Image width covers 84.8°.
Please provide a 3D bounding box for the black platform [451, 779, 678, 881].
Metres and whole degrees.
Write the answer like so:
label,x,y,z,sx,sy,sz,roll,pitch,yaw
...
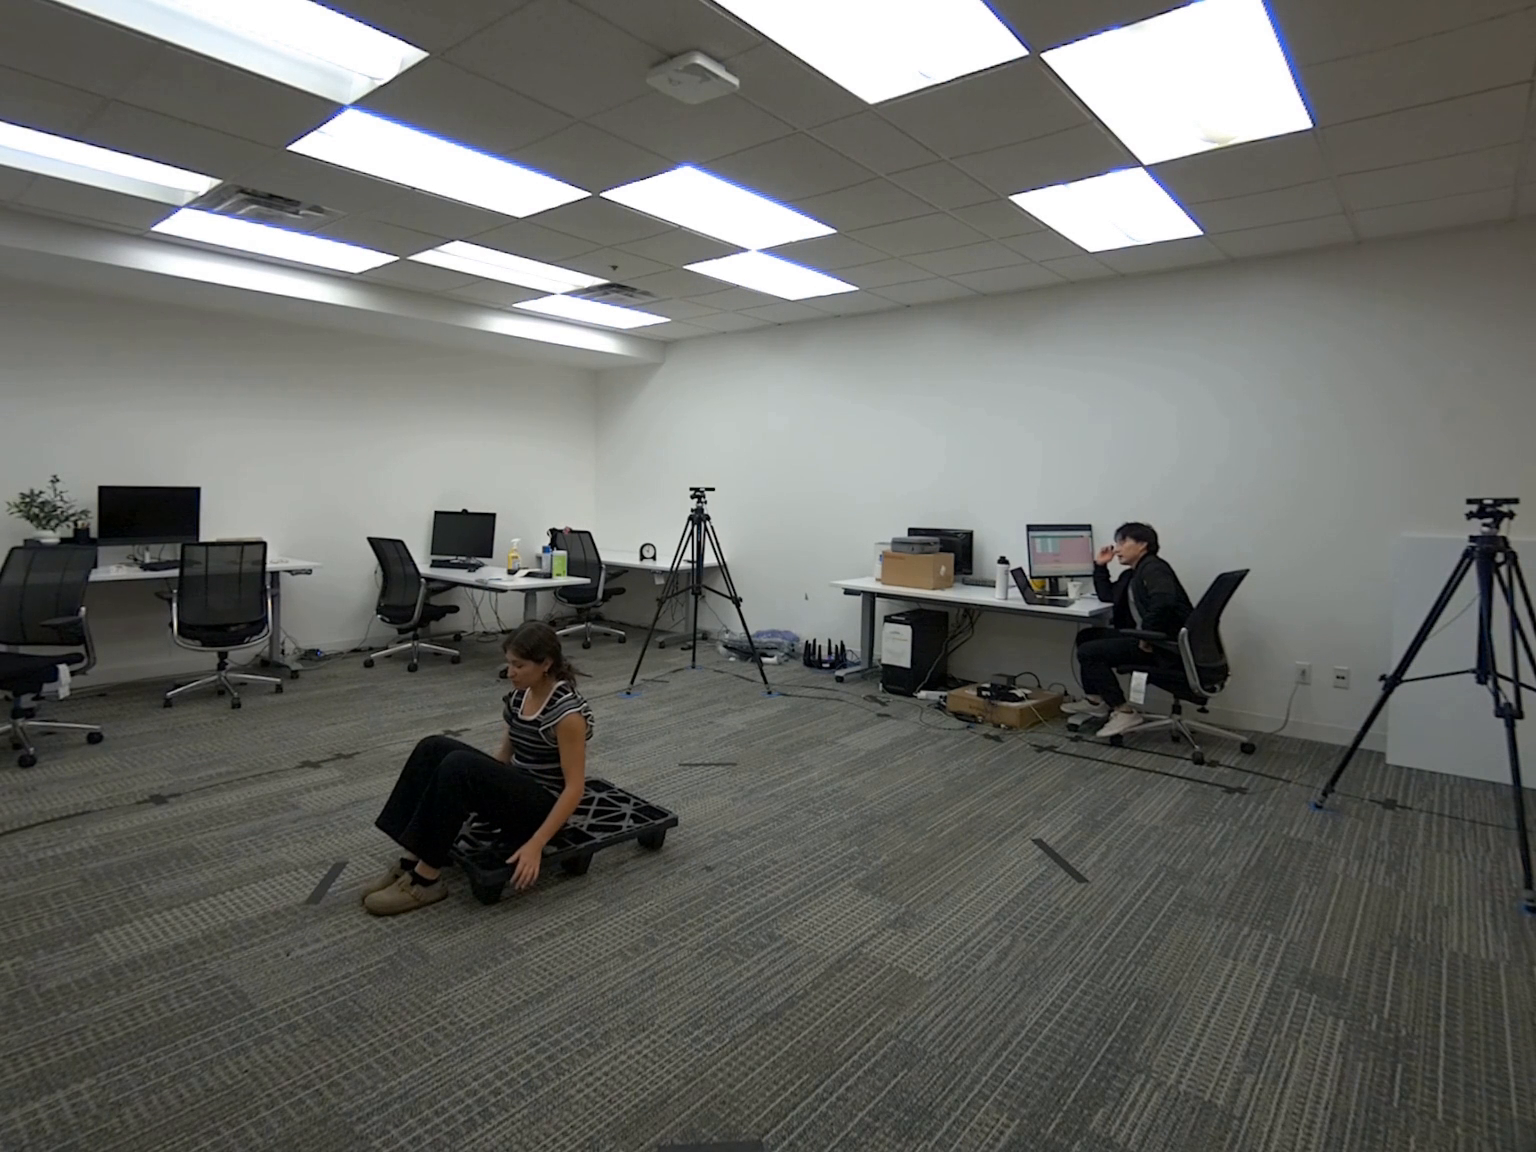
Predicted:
label,x,y,z,sx,sy,sz,roll,pitch,yaw
black platform,-0.842,0.979,3.217,0.782,0.143,0.625,-5,7,-42
